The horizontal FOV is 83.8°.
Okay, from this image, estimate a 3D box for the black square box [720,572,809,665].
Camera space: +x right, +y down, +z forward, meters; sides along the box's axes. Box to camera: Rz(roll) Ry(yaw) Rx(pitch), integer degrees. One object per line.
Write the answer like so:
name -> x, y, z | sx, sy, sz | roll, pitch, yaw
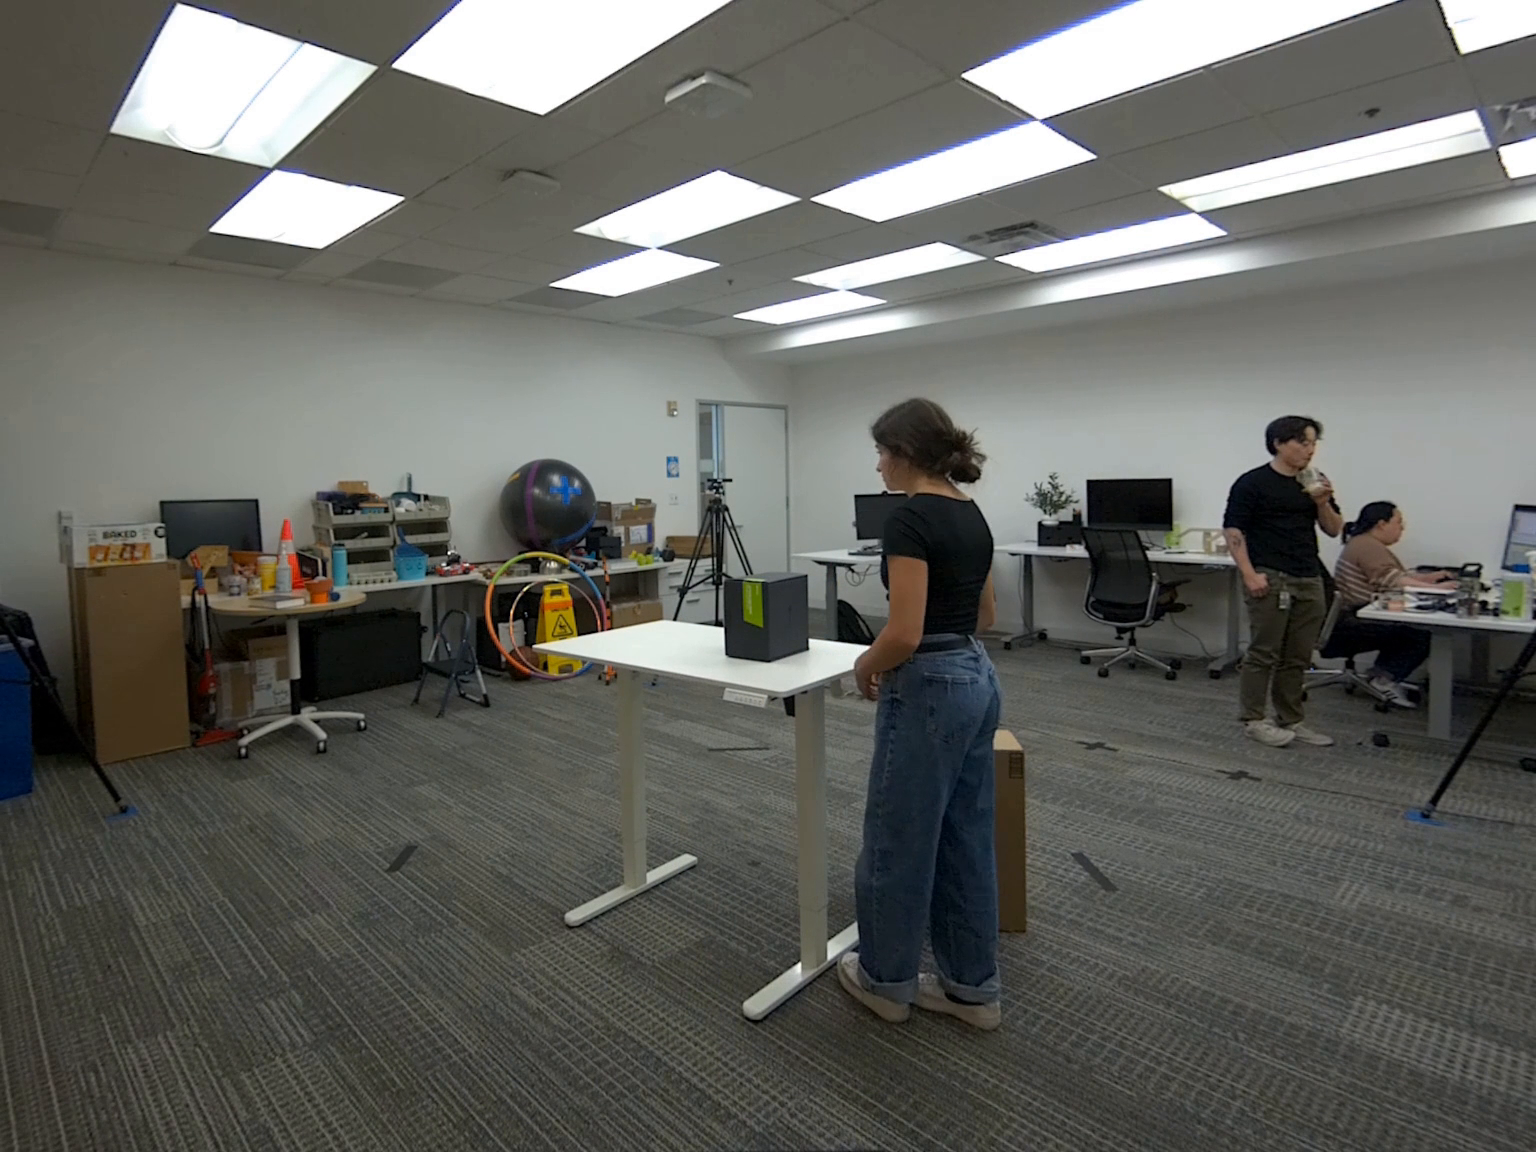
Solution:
black square box -> -0.010, 0.116, 2.510 | 0.160, 0.227, 0.212 | 2, 6, 36
